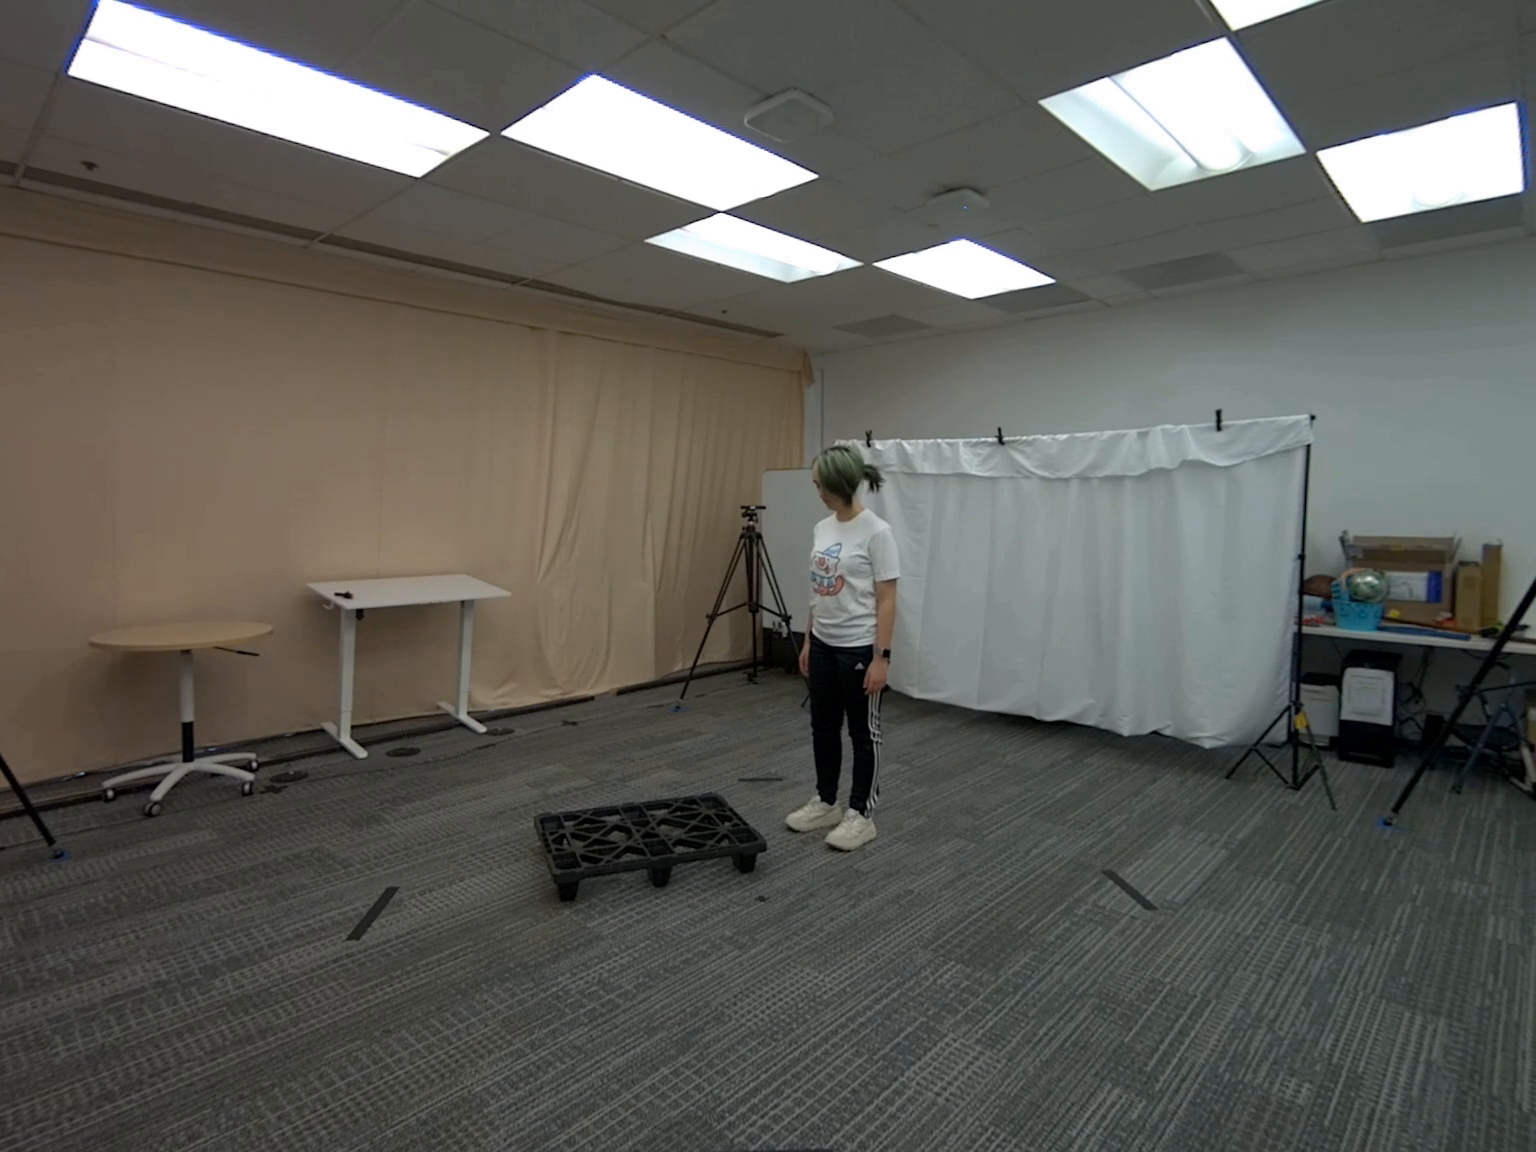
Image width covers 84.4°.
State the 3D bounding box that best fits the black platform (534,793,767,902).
[{"bbox_3d":[-0.480,1.053,3.302,0.790,0.143,0.618,-2,4,-20],"label":"black platform"}]
